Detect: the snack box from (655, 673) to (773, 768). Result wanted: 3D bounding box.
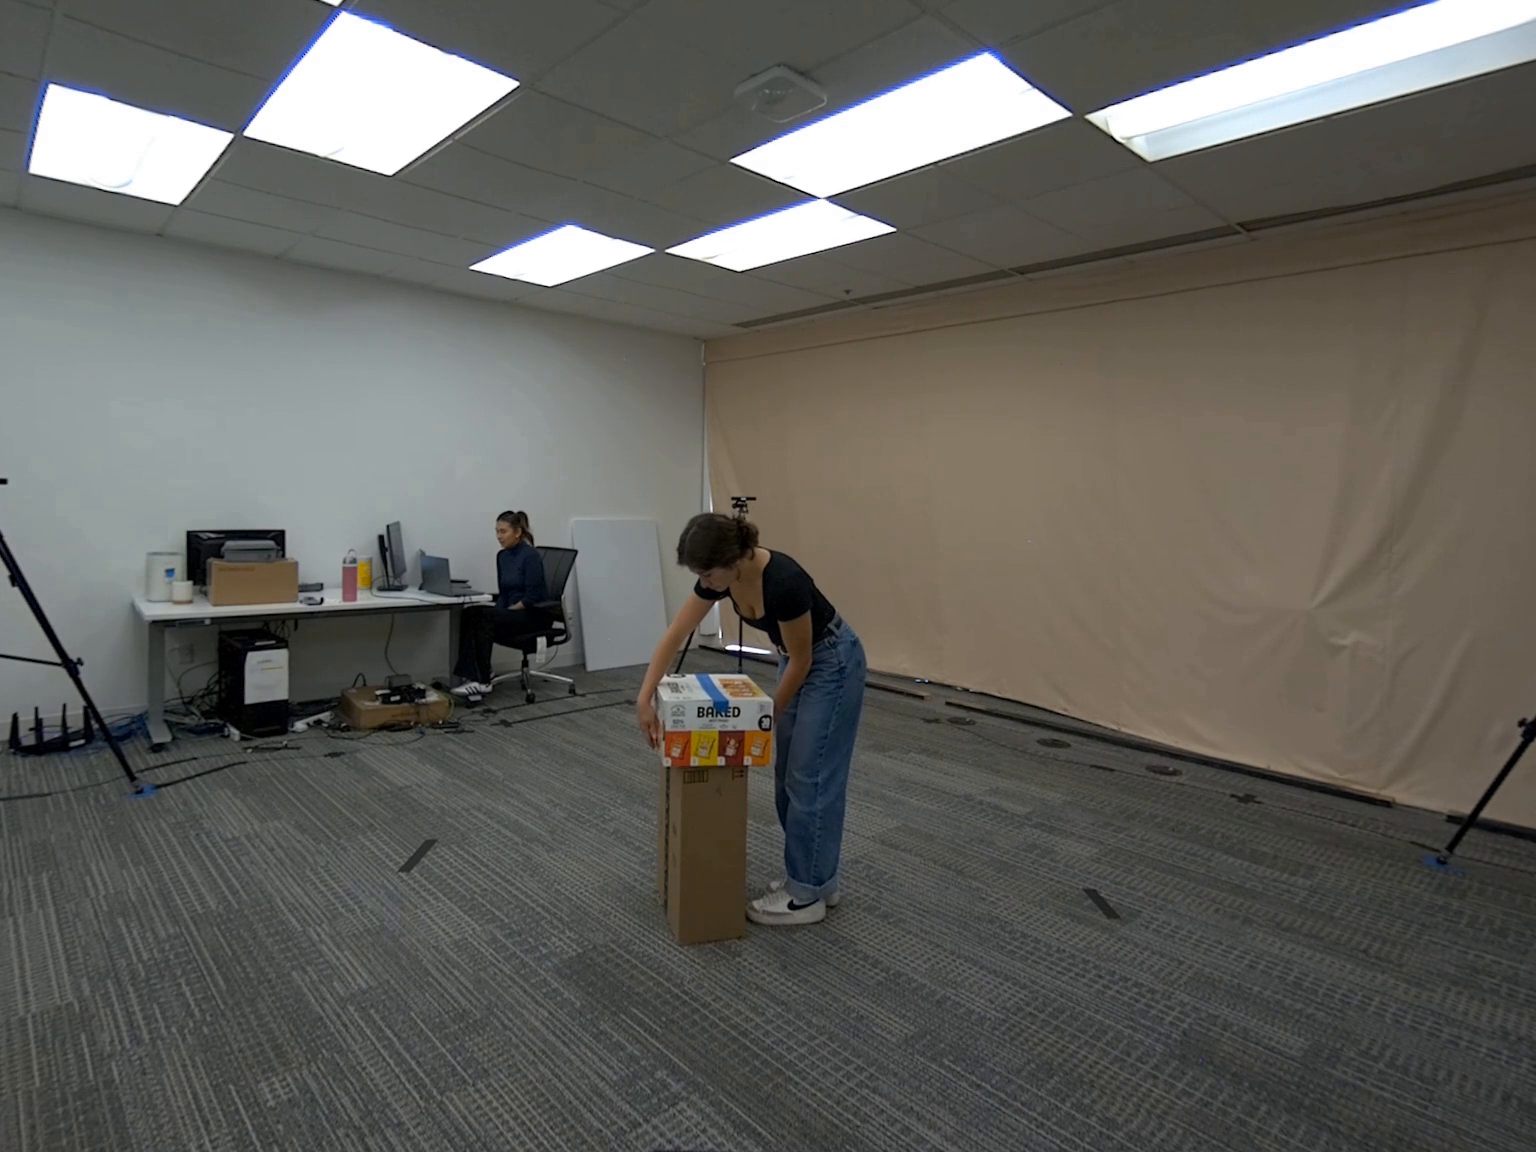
[{"bbox_3d":[-0.202,0.465,2.774,0.337,0.205,0.410,2,4,-13],"label":"snack box"}]
